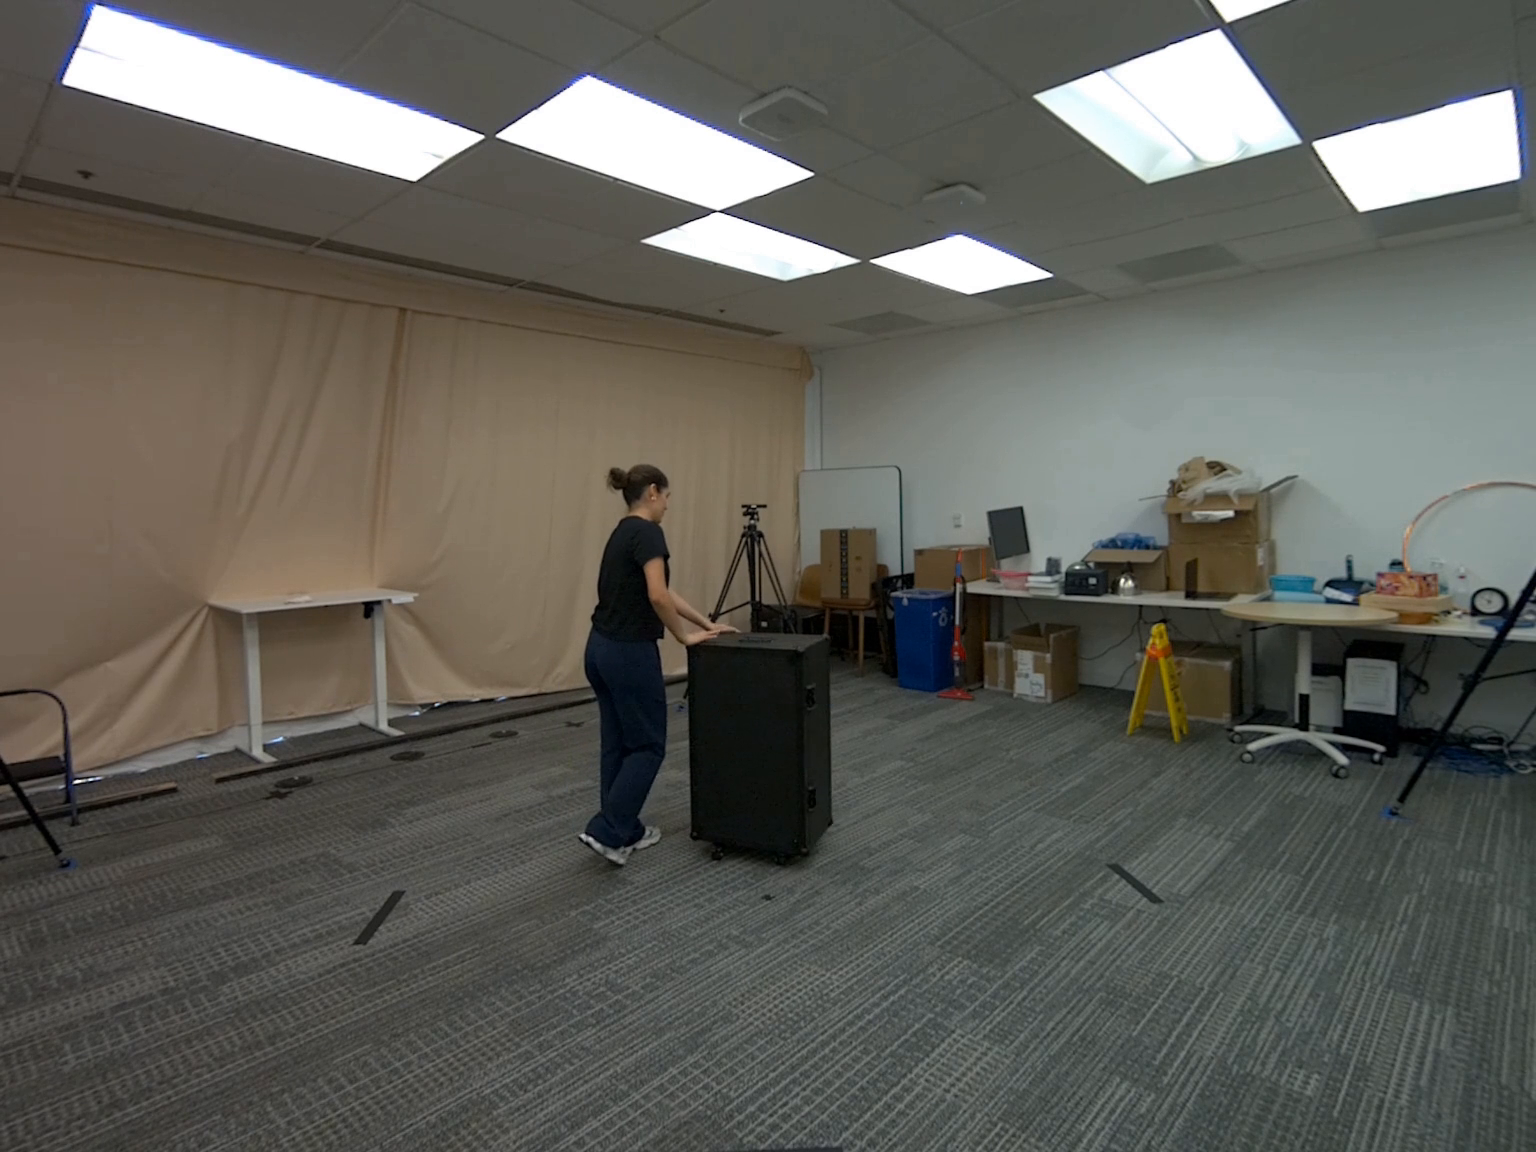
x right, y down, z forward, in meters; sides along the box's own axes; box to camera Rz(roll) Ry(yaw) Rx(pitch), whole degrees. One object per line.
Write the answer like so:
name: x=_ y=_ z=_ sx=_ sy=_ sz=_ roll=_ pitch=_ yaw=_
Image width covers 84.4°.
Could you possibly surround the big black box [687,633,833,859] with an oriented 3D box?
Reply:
big black box: x=-0.012 y=0.680 z=3.403 sx=0.533 sy=0.860 sz=0.388 roll=1 pitch=3 yaw=22
